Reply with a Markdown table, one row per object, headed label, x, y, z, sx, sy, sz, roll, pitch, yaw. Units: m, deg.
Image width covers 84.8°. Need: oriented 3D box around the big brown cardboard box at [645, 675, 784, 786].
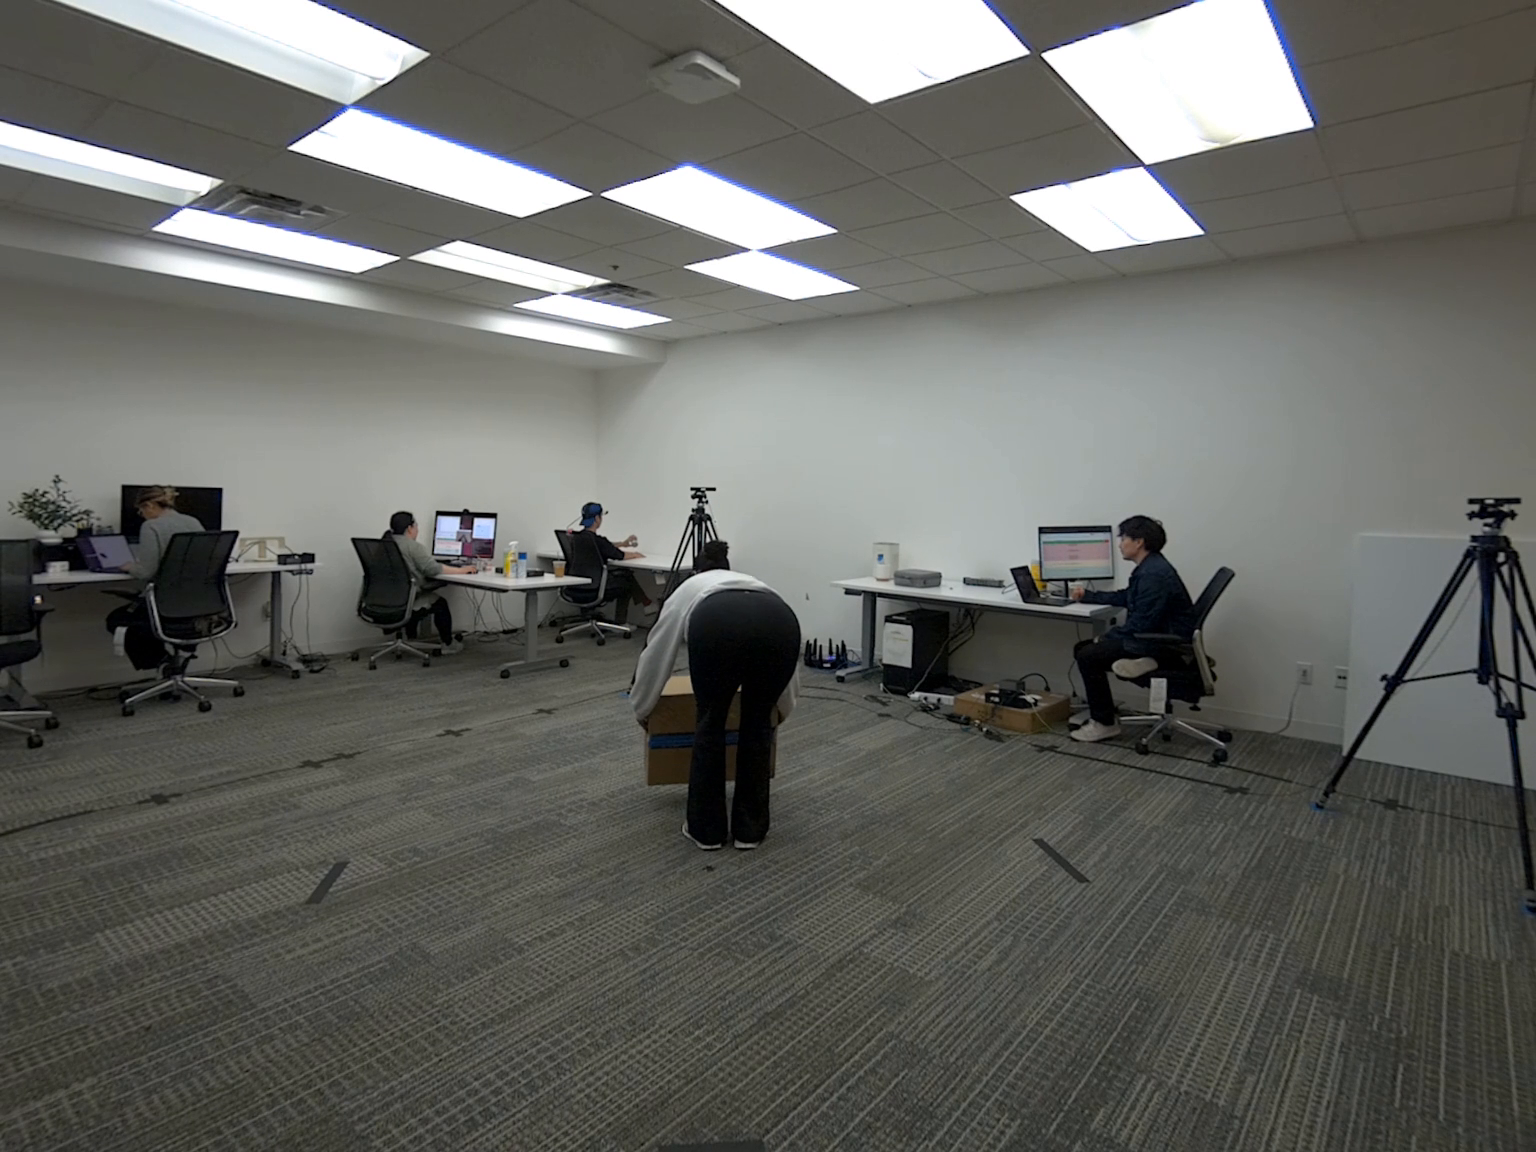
| label | x | y | z | sx | sy | sz | roll | pitch | yaw |
| --- | --- | --- | --- | --- | --- | --- | --- | --- | --- |
| big brown cardboard box | -0.265 | 0.673 | 3.769 | 0.585 | 0.413 | 0.237 | -1 | 12 | -6 |
